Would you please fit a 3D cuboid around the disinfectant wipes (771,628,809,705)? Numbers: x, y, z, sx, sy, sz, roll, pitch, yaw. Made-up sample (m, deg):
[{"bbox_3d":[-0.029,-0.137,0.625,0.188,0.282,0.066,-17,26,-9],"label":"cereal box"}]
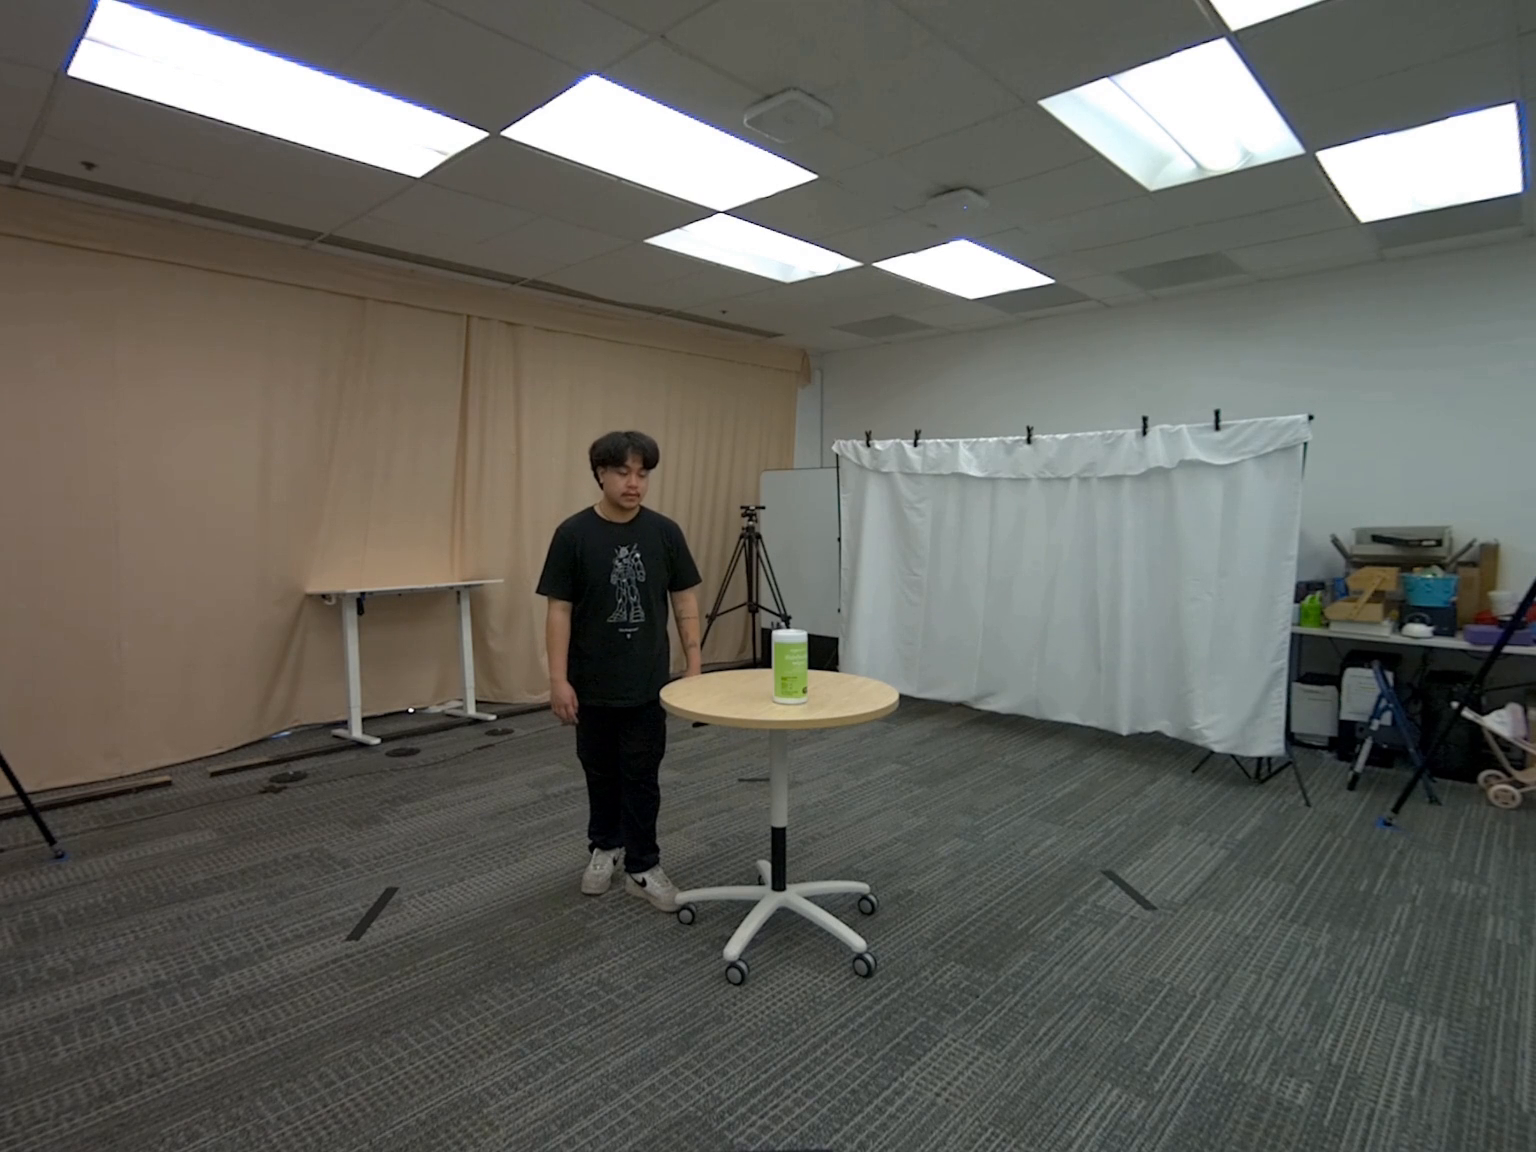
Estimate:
[{"bbox_3d":[0.070,0.276,2.574,0.118,0.217,0.118,0,3,-2],"label":"disinfectant wipes"}]
